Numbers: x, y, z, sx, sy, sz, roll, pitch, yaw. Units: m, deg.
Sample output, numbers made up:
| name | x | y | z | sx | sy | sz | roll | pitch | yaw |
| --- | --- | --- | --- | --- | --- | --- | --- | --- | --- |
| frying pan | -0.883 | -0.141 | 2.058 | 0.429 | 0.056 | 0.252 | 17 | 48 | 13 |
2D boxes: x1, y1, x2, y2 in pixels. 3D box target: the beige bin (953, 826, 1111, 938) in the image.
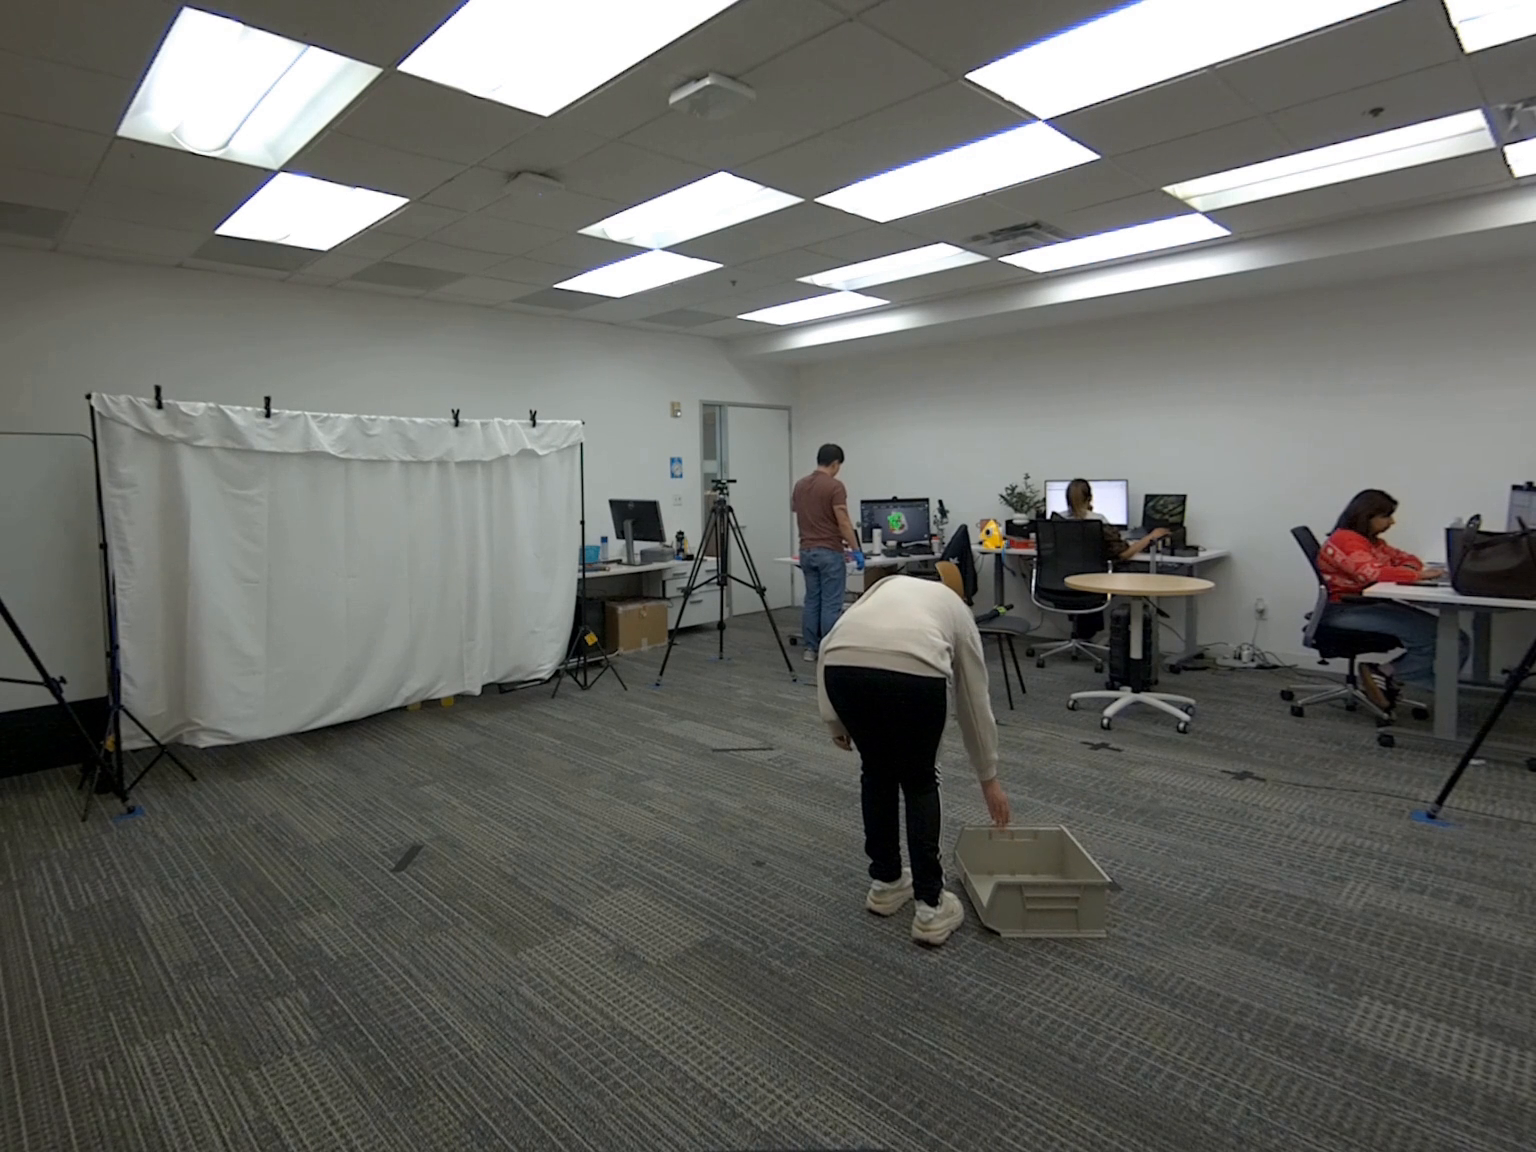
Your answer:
| name | x | y | z | sx | sy | sz | roll | pitch | yaw |
| --- | --- | --- | --- | --- | --- | --- | --- | --- | --- |
| beige bin | 0.836 | 0.976 | 2.769 | 0.378 | 0.188 | 0.423 | 0 | 4 | 0 |
